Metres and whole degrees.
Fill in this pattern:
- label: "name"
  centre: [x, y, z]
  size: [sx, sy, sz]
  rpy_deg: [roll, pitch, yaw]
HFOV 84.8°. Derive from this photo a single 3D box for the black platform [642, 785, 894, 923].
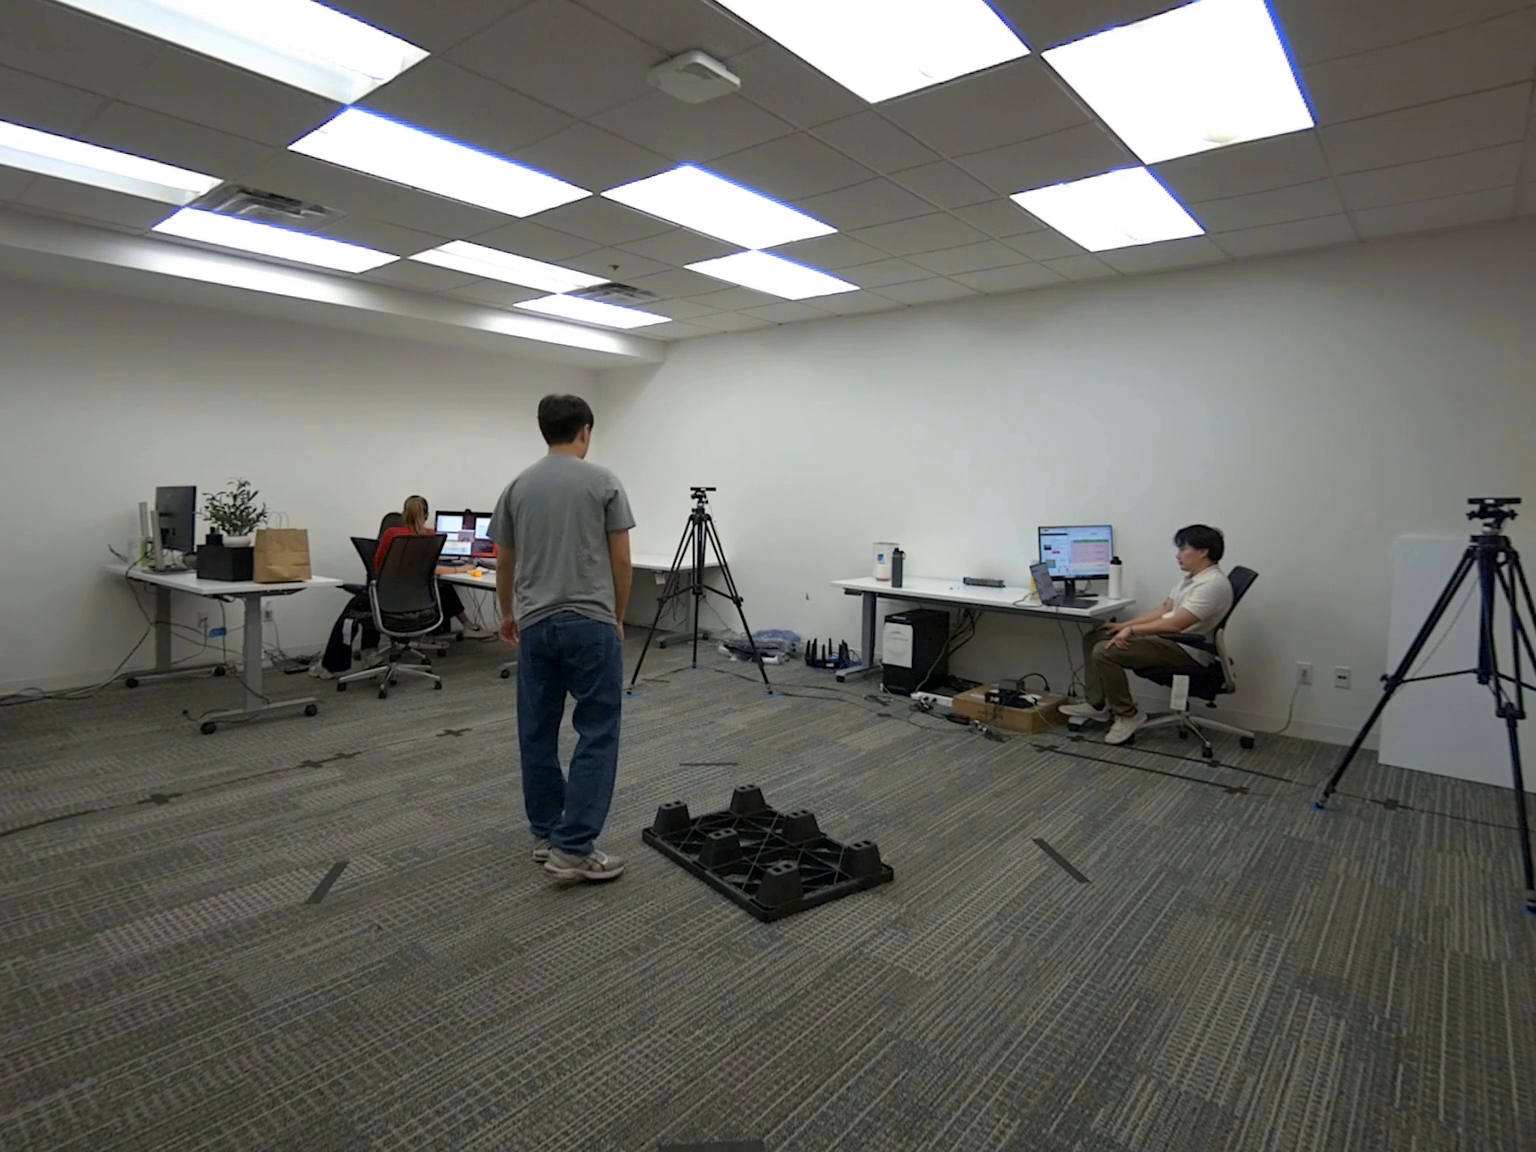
- label: "black platform"
  centre: [-0.036, 0.994, 3.202]
  size: [0.587, 0.143, 0.833]
  rpy_deg: [-3, 6, -38]
